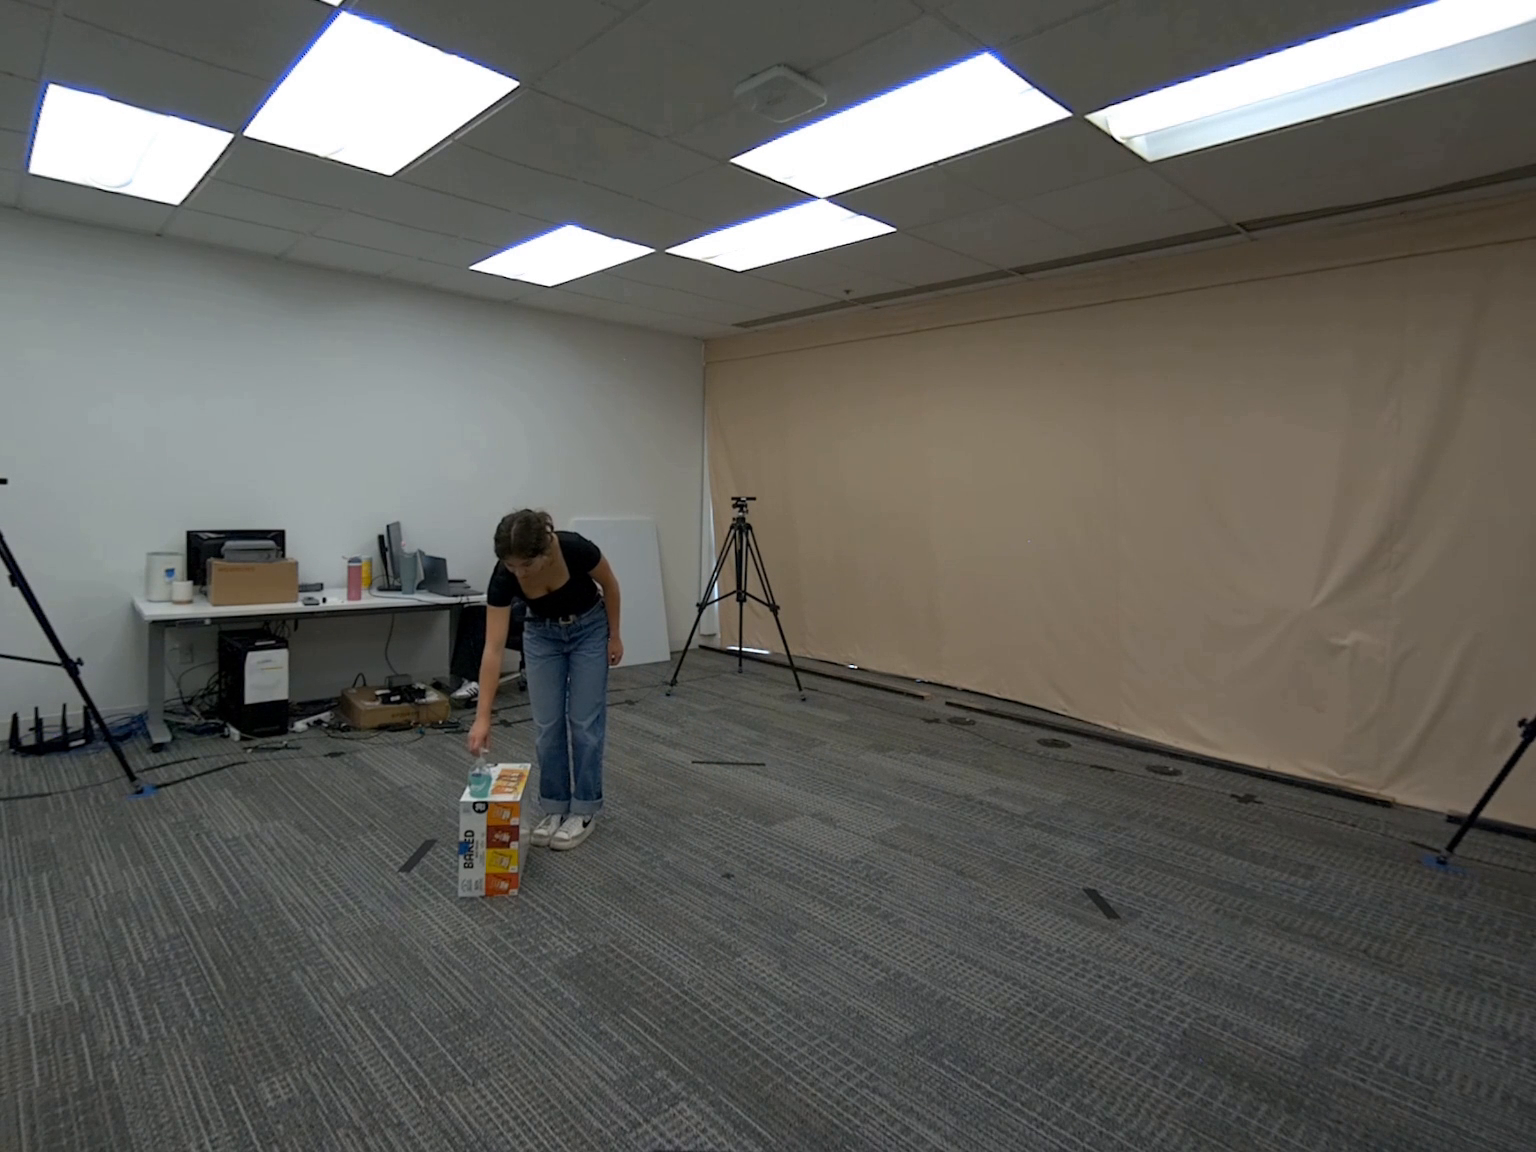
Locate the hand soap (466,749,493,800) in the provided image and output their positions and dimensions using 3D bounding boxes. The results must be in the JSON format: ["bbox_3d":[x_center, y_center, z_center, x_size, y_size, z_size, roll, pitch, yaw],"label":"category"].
[{"bbox_3d":[-1.016,0.690,2.917,0.085,0.168,0.043,1,3,3],"label":"hand soap"}]
